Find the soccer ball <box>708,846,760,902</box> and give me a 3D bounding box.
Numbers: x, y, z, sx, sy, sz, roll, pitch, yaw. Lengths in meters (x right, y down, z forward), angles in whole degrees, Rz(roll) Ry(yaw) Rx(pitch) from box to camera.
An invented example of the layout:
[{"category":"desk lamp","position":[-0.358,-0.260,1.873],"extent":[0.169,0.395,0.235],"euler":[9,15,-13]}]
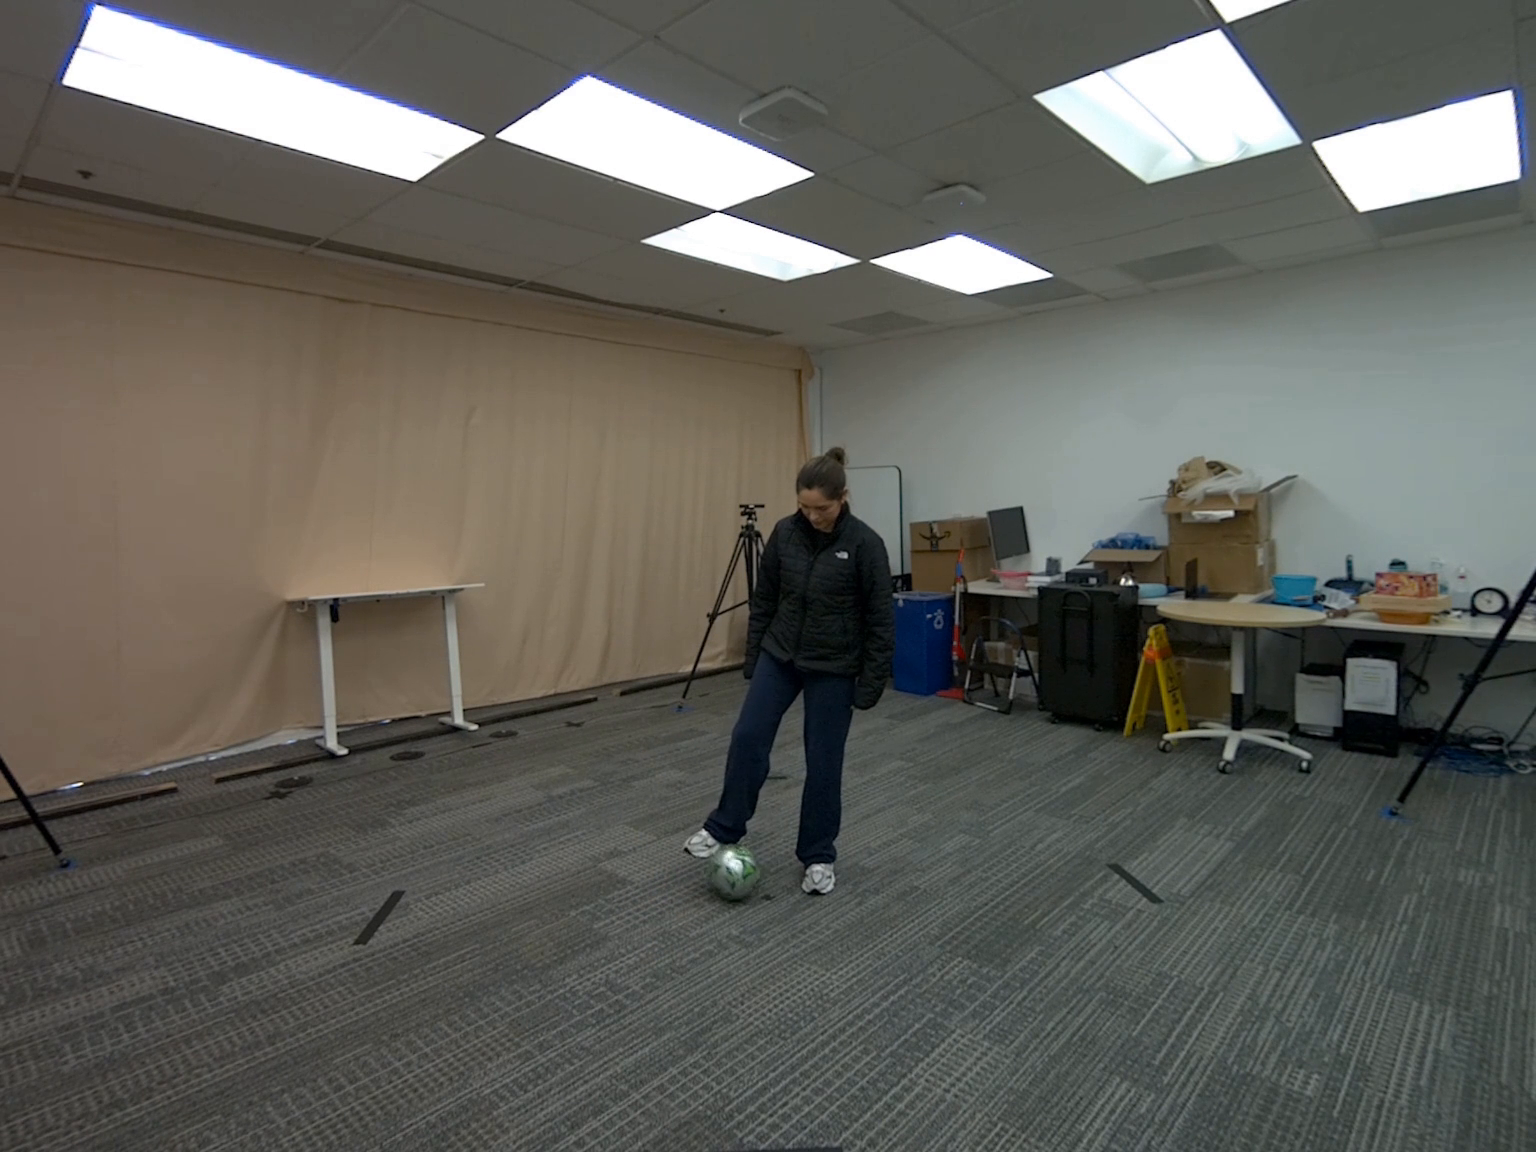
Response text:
[{"category":"soccer ball","position":[-0.121,1.042,2.983],"extent":[0.187,0.187,0.188],"euler":[-1,4,-2]}]
